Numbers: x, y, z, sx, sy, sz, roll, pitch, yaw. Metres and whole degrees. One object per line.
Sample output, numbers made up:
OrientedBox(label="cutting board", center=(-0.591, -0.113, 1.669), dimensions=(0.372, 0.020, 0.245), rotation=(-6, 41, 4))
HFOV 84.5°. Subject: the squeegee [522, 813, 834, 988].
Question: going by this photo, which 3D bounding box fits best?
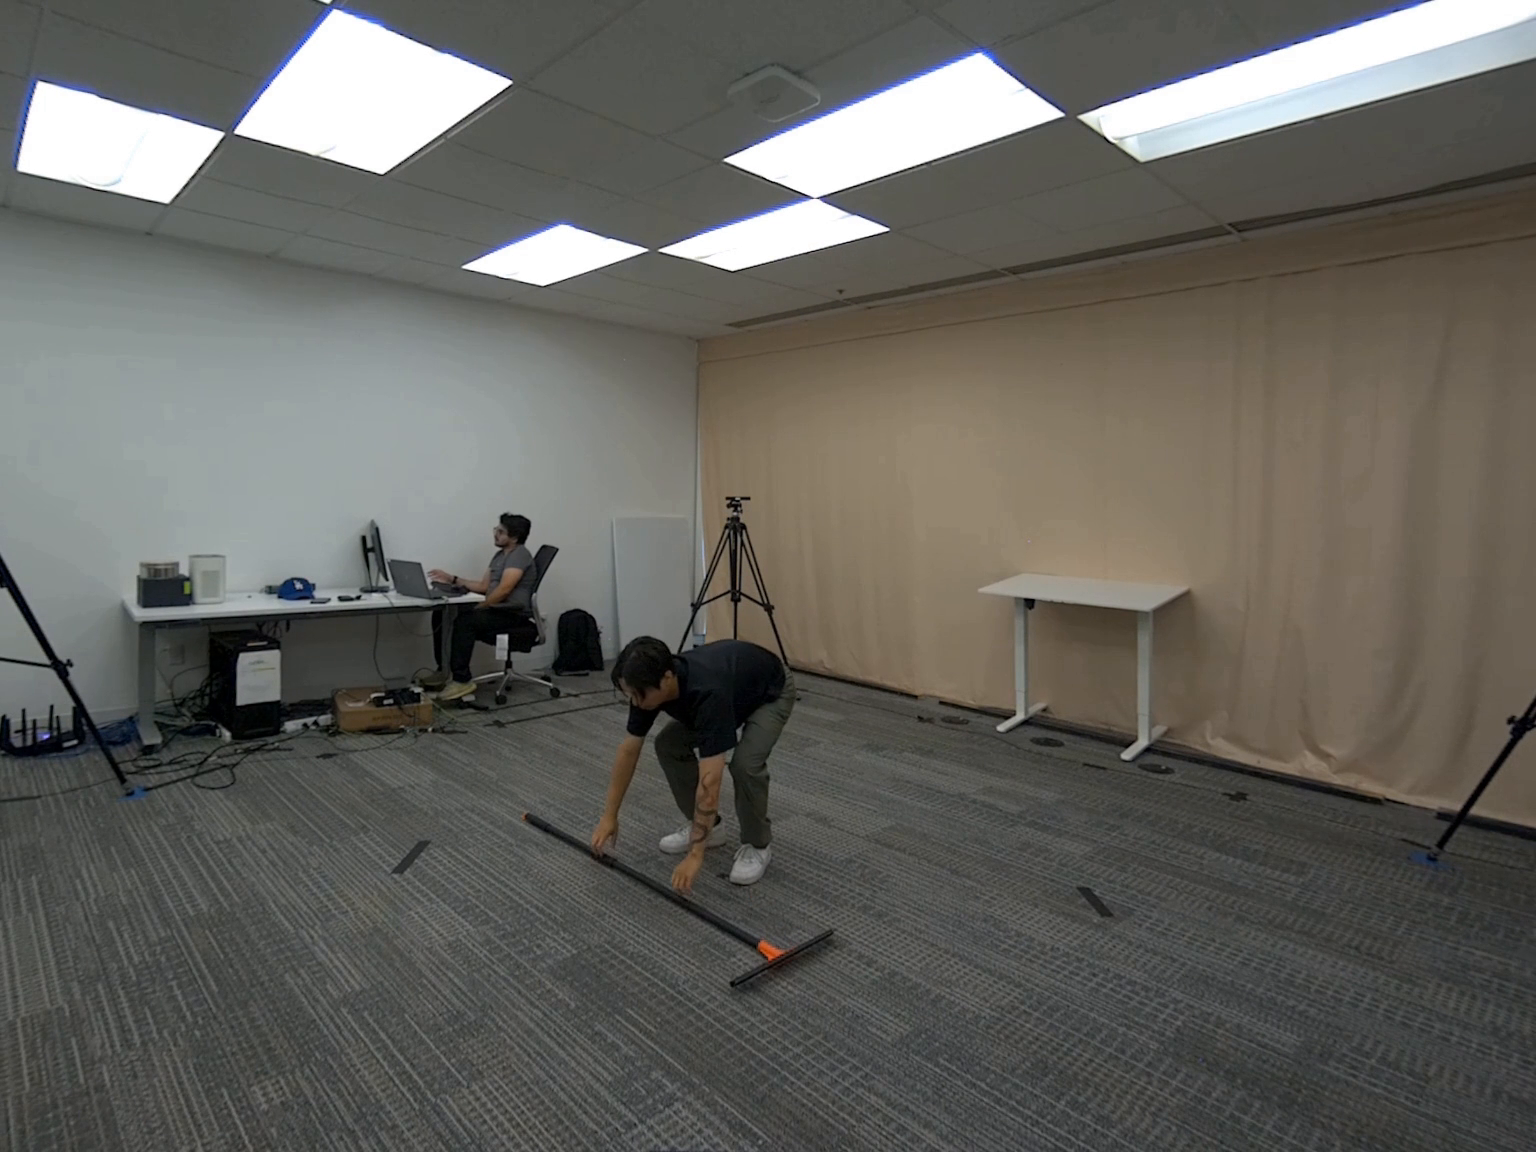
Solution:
OrientedBox(label="squeegee", center=(-0.482, 1.064, 3.050), dimensions=(0.427, 0.053, 1.577), rotation=(-3, 6, -44))
